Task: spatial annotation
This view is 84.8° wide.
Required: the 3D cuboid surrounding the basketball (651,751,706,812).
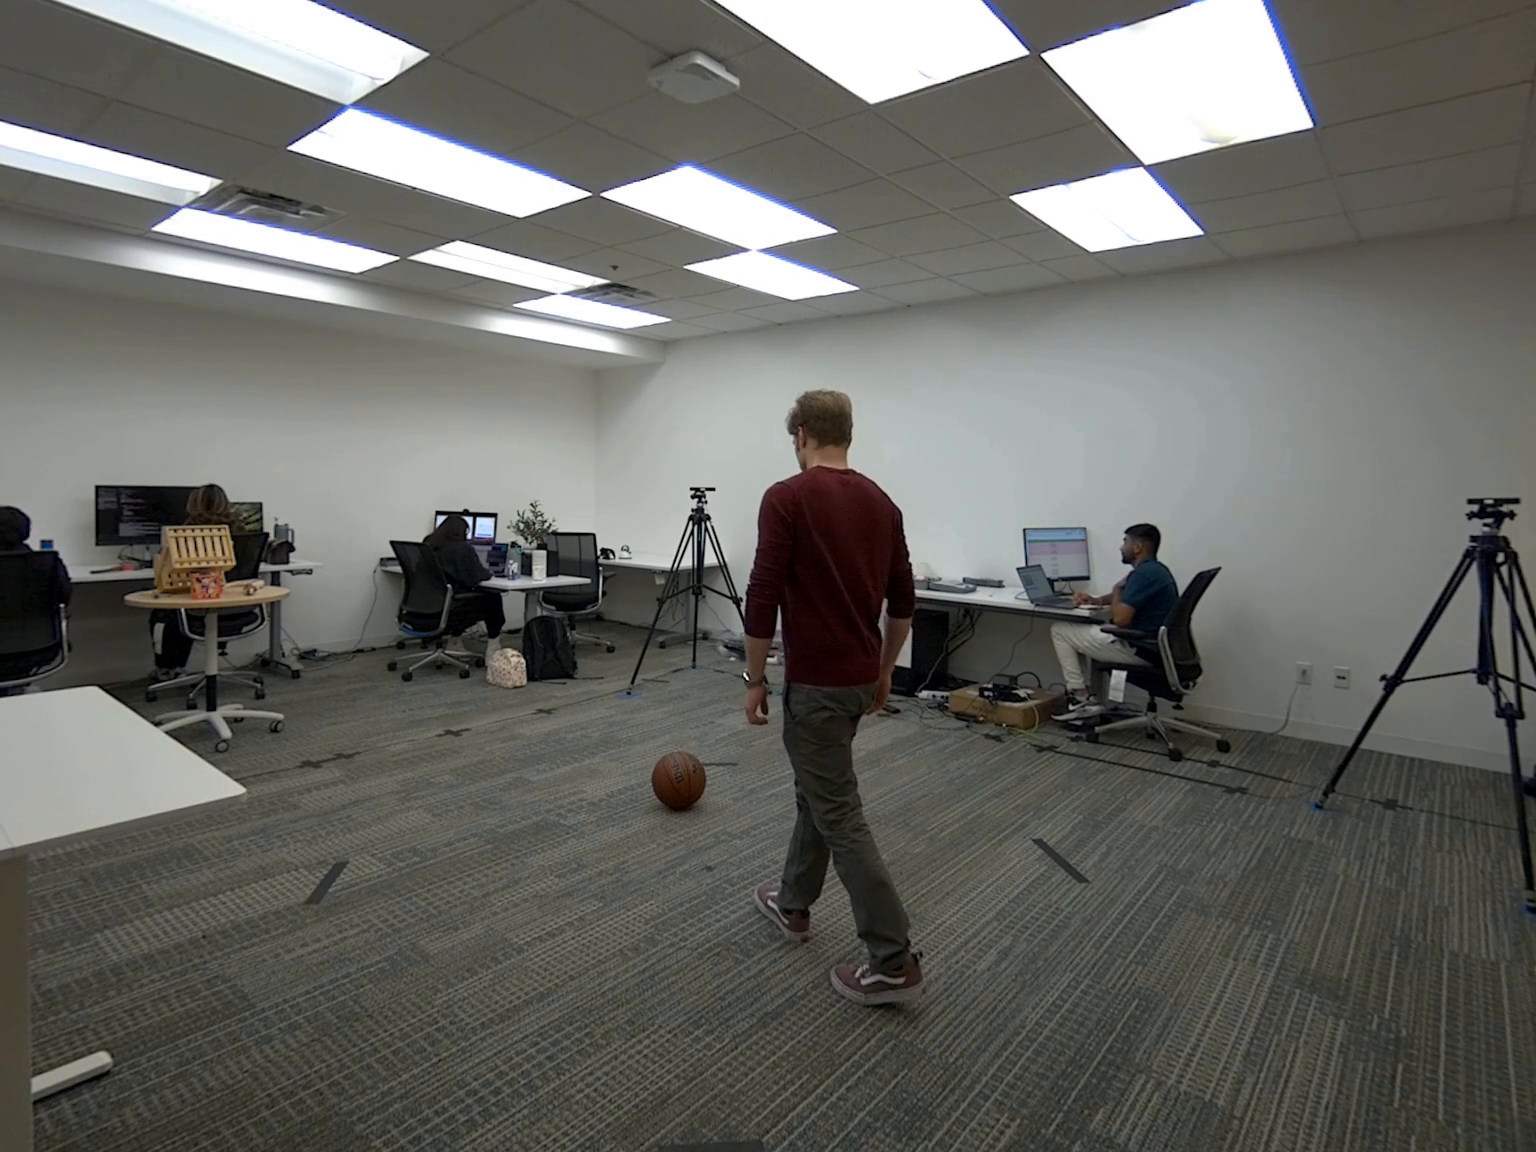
[{"bbox_3d":[-0.395,0.885,3.709,0.235,0.235,0.237,1,4,-2],"label":"basketball"}]
